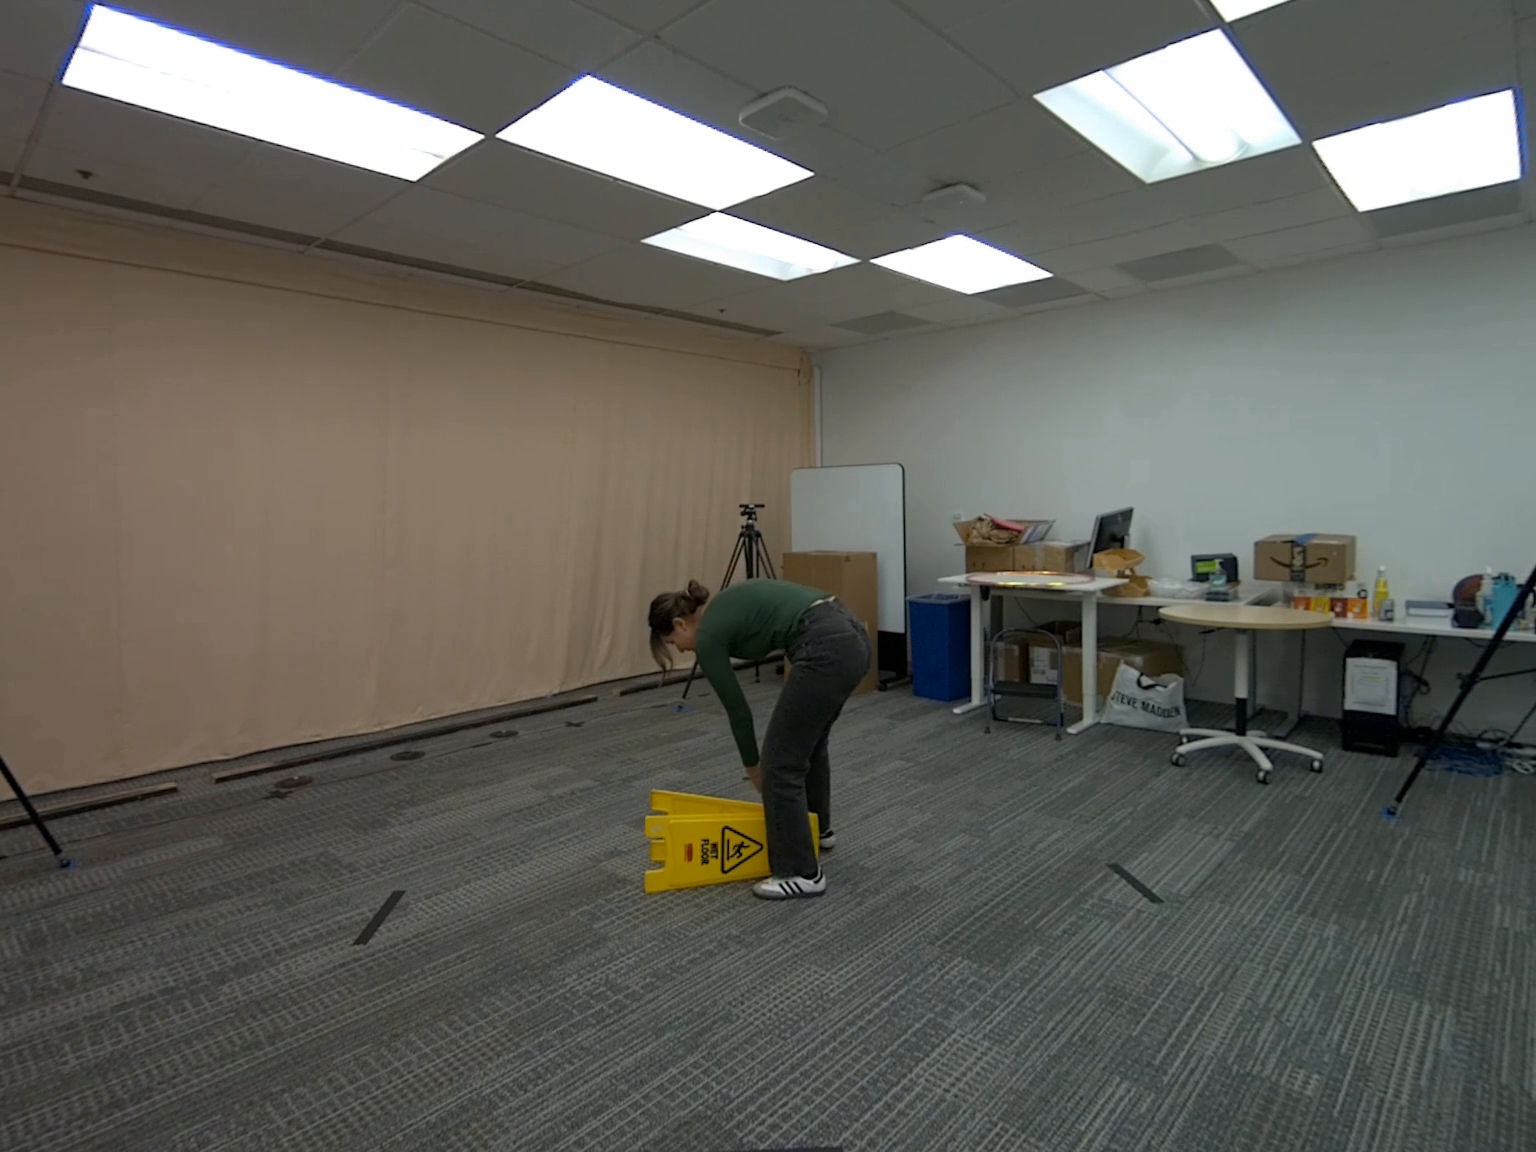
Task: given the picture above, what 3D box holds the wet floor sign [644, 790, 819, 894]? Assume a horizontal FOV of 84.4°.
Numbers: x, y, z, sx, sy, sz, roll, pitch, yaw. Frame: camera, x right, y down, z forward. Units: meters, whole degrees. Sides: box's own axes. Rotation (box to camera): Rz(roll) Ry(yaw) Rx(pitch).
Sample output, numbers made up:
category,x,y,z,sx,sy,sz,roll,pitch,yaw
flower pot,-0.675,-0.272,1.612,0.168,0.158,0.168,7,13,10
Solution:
category,x,y,z,sx,sy,sz,roll,pitch,yaw
wet floor sign,-0.131,0.993,3.183,0.645,0.282,0.291,1,3,-1
